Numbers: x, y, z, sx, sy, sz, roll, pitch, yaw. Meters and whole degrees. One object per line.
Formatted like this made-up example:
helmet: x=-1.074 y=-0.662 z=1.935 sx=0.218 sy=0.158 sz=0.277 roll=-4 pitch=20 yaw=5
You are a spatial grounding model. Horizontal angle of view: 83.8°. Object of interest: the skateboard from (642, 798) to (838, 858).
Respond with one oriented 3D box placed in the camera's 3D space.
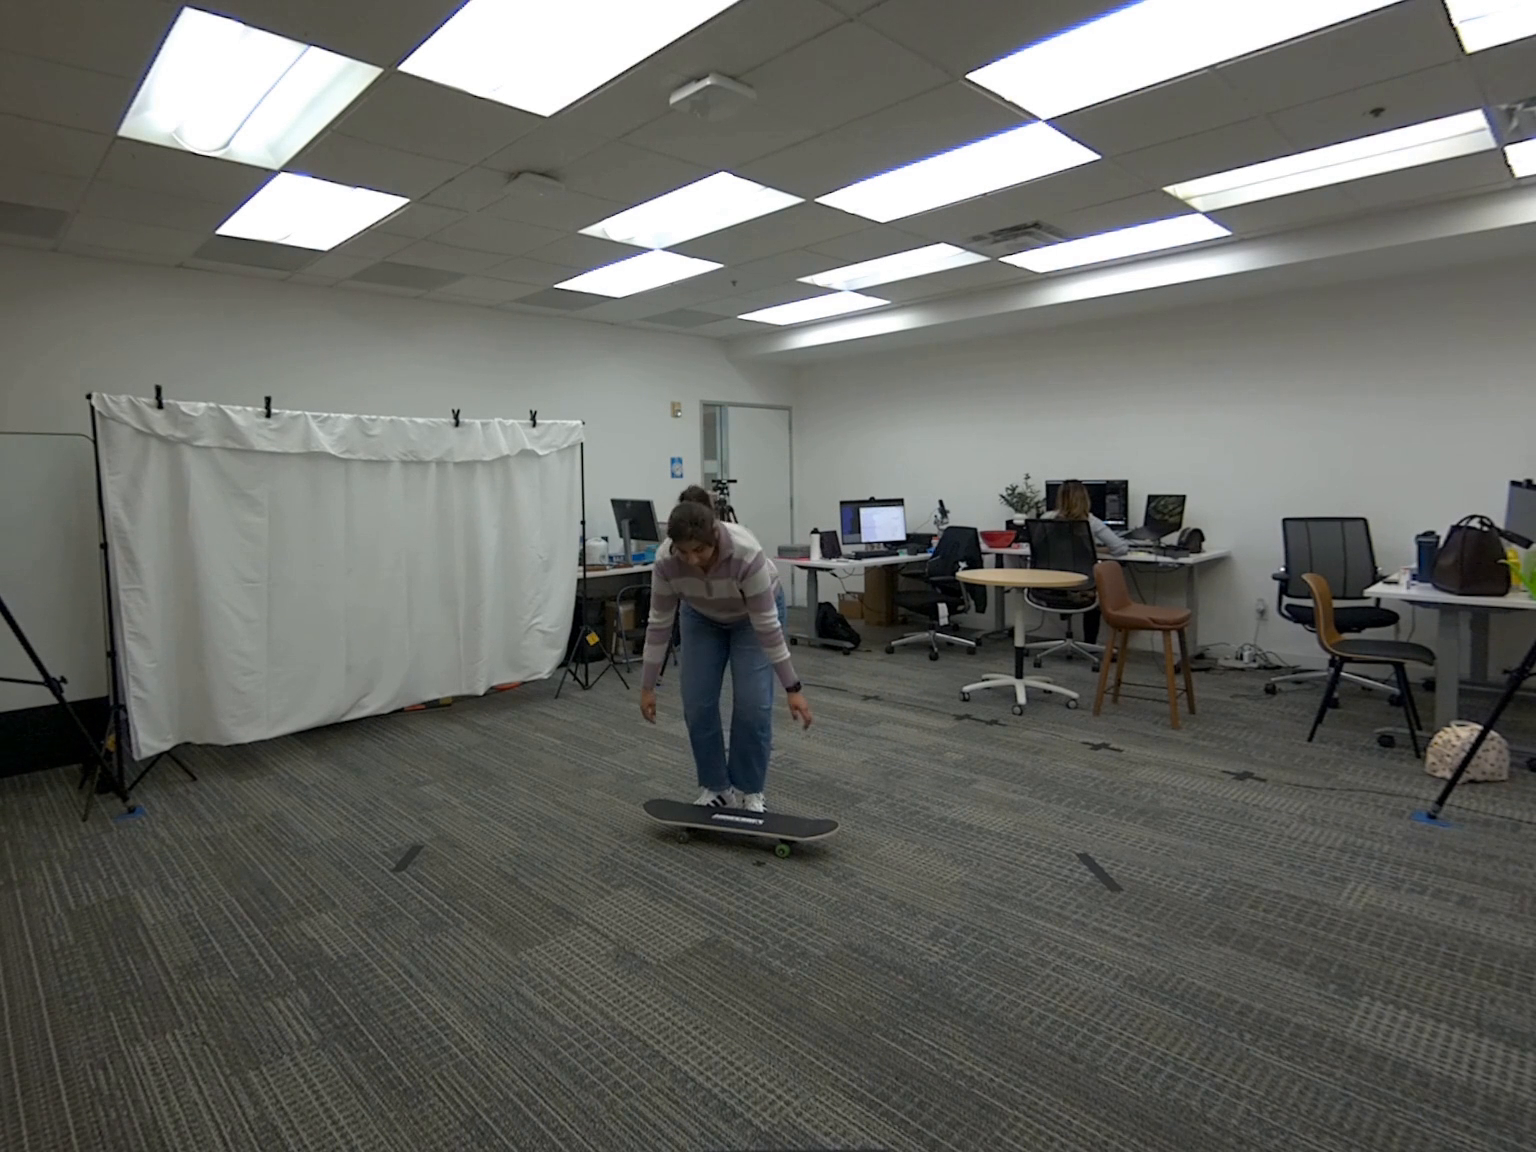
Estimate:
skateboard: x=-0.111 y=0.971 z=3.295 sx=0.800 sy=0.110 sz=0.191 roll=1 pitch=6 yaw=19
